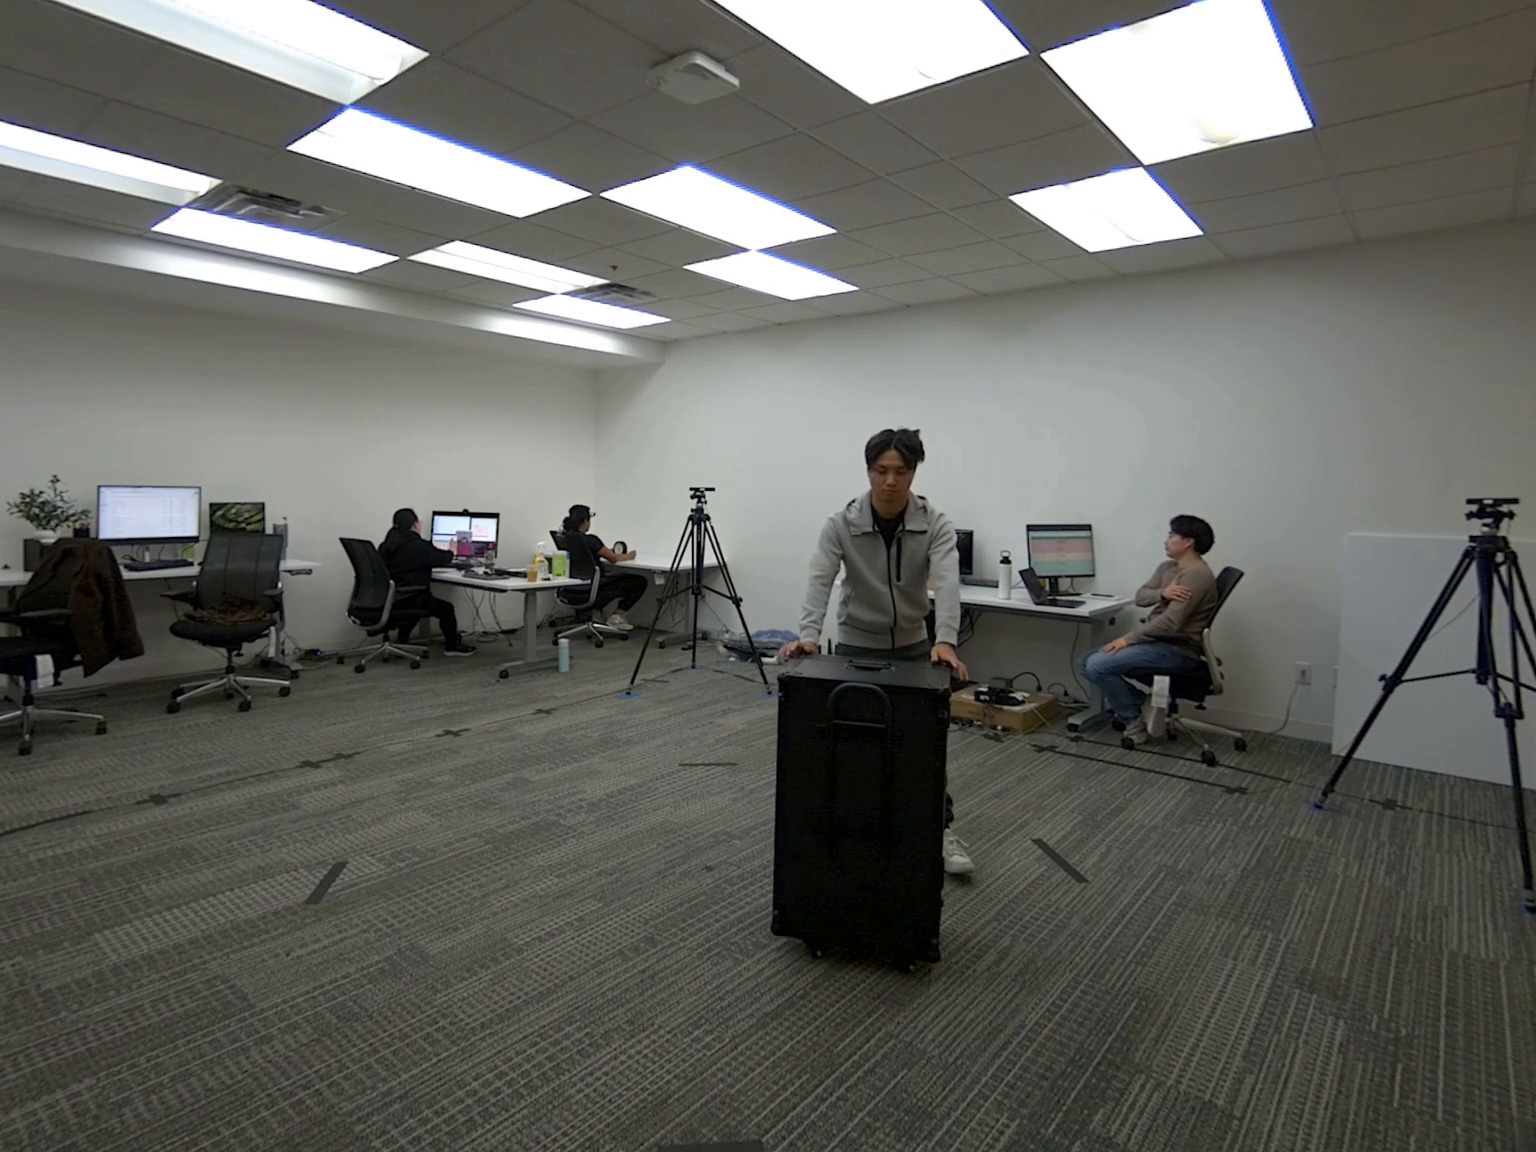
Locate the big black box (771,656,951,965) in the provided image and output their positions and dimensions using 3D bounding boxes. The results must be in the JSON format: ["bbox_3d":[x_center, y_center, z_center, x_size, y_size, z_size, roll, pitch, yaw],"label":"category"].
[{"bbox_3d":[0.282,0.706,2.580,0.531,0.858,0.390,2,4,17],"label":"big black box"}]
